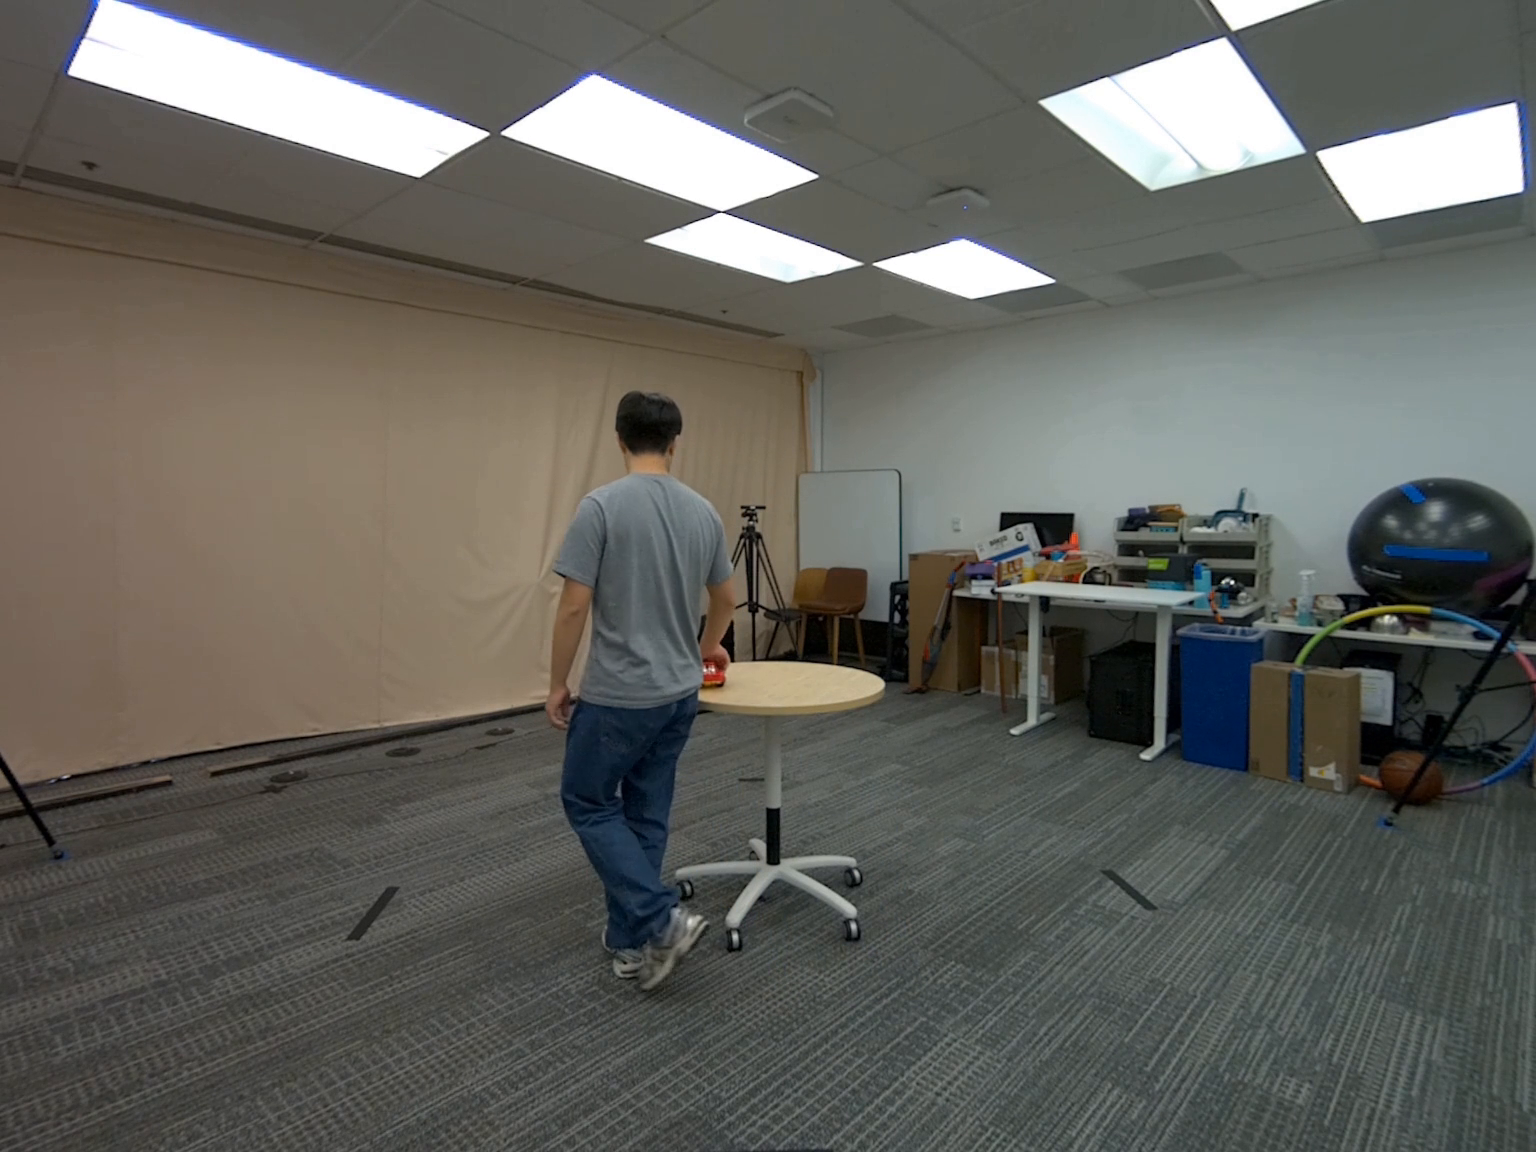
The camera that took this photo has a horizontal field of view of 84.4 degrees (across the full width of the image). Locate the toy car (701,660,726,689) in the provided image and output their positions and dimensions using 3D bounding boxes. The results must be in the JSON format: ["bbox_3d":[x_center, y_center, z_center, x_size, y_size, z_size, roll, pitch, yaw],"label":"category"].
[{"bbox_3d":[-0.206,0.339,2.876,0.129,0.083,0.256,0,-6,-10],"label":"toy car"}]
